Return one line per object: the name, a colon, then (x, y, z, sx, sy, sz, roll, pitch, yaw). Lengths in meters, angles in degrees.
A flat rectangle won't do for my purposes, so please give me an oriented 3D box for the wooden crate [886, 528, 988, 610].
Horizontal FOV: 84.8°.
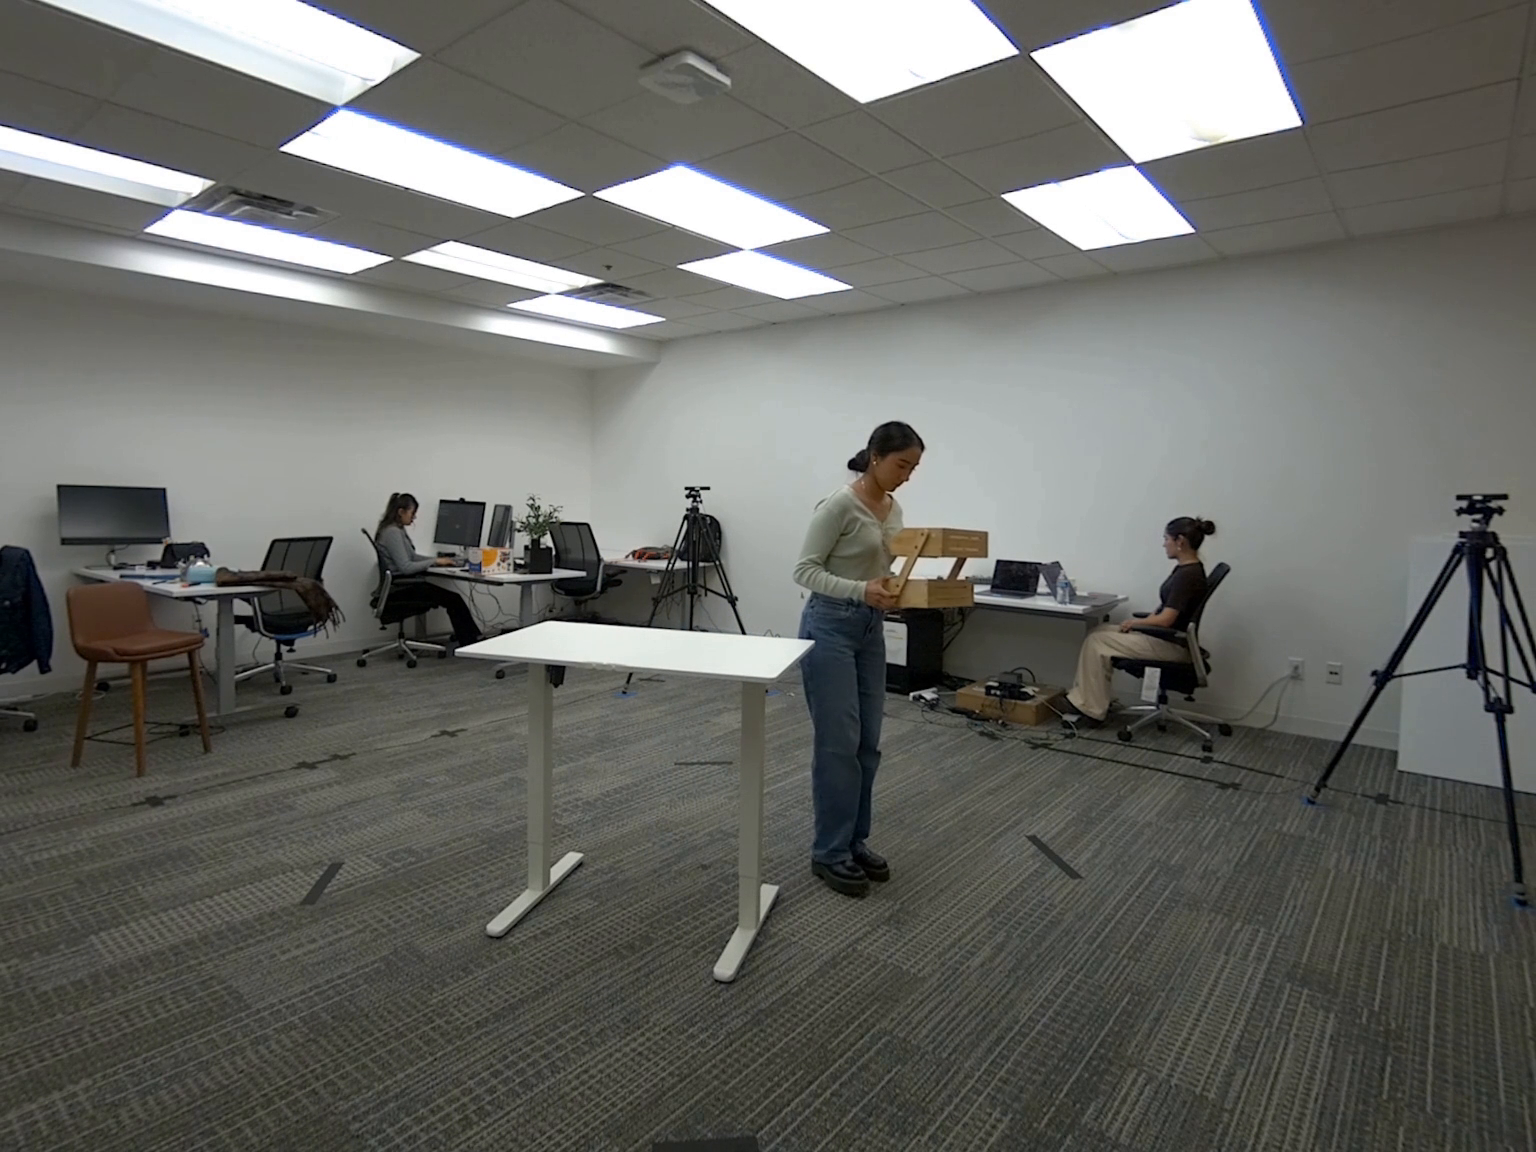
wooden crate: (0.541, -0.036, 2.916, 0.314, 0.274, 0.312, 1, 0, -45)
